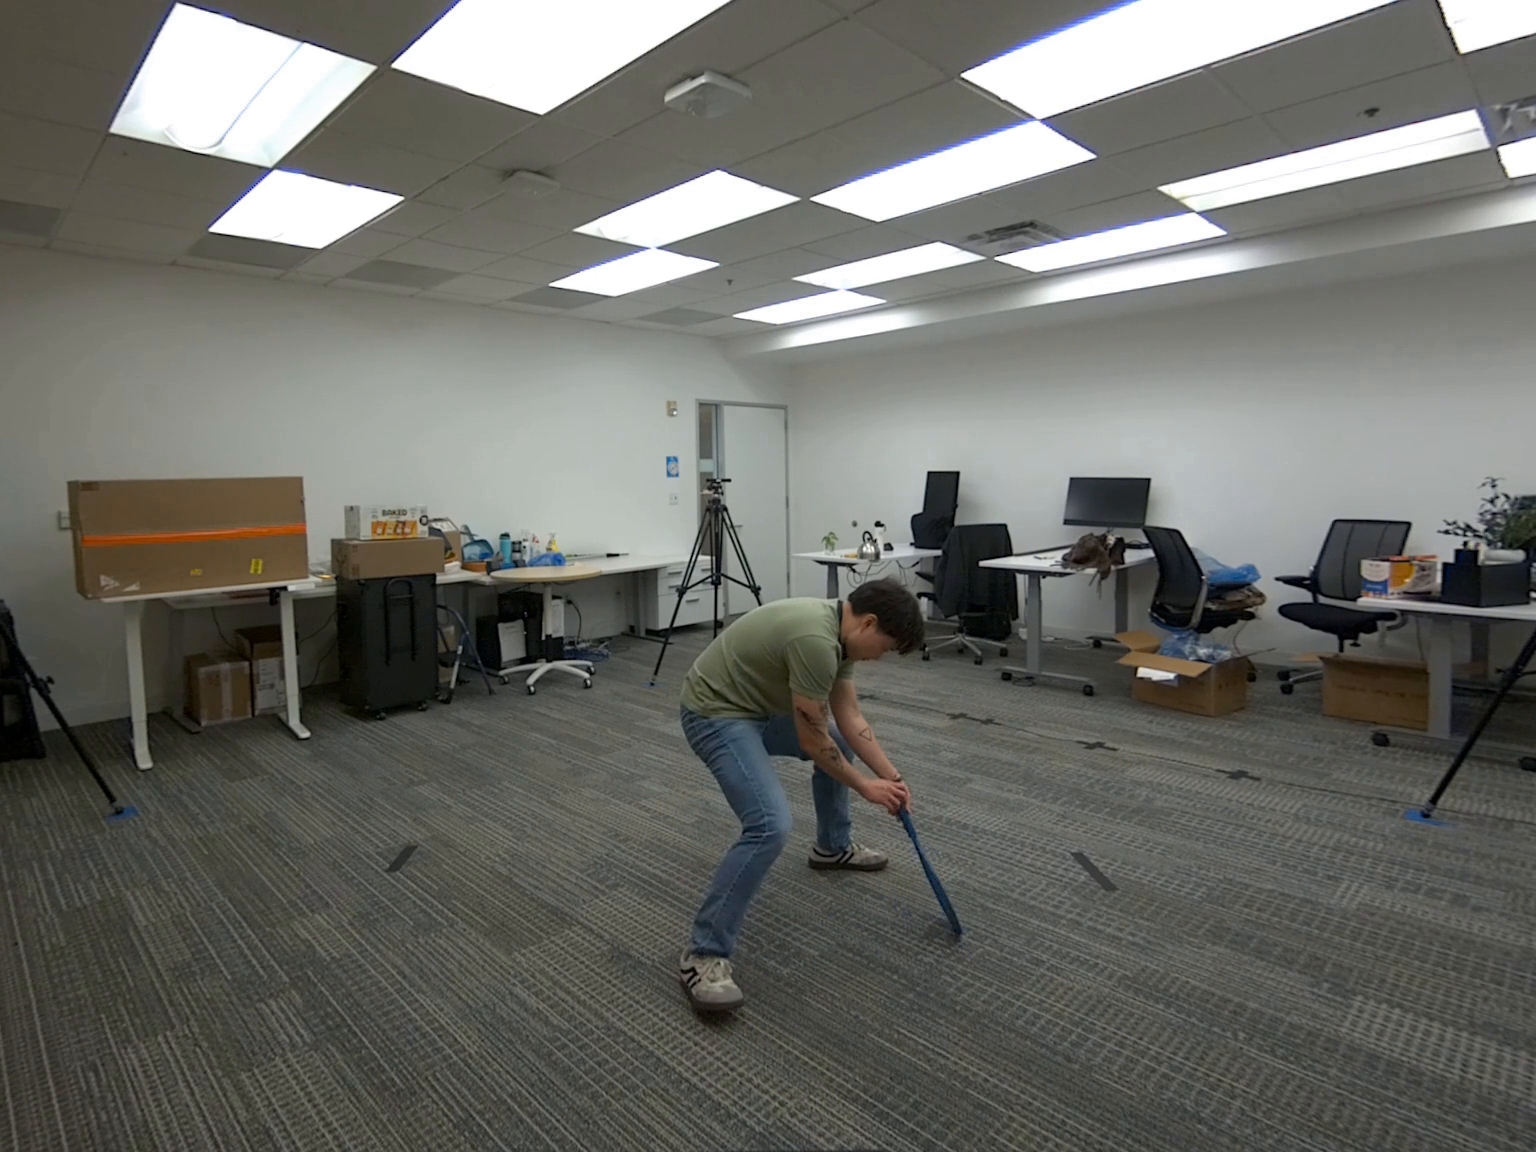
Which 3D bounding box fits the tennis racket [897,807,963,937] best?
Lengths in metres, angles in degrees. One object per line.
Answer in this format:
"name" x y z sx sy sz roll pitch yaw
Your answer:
"tennis racket" 0.498 0.896 2.632 0.031 0.438 0.212 -23 -9 -8
